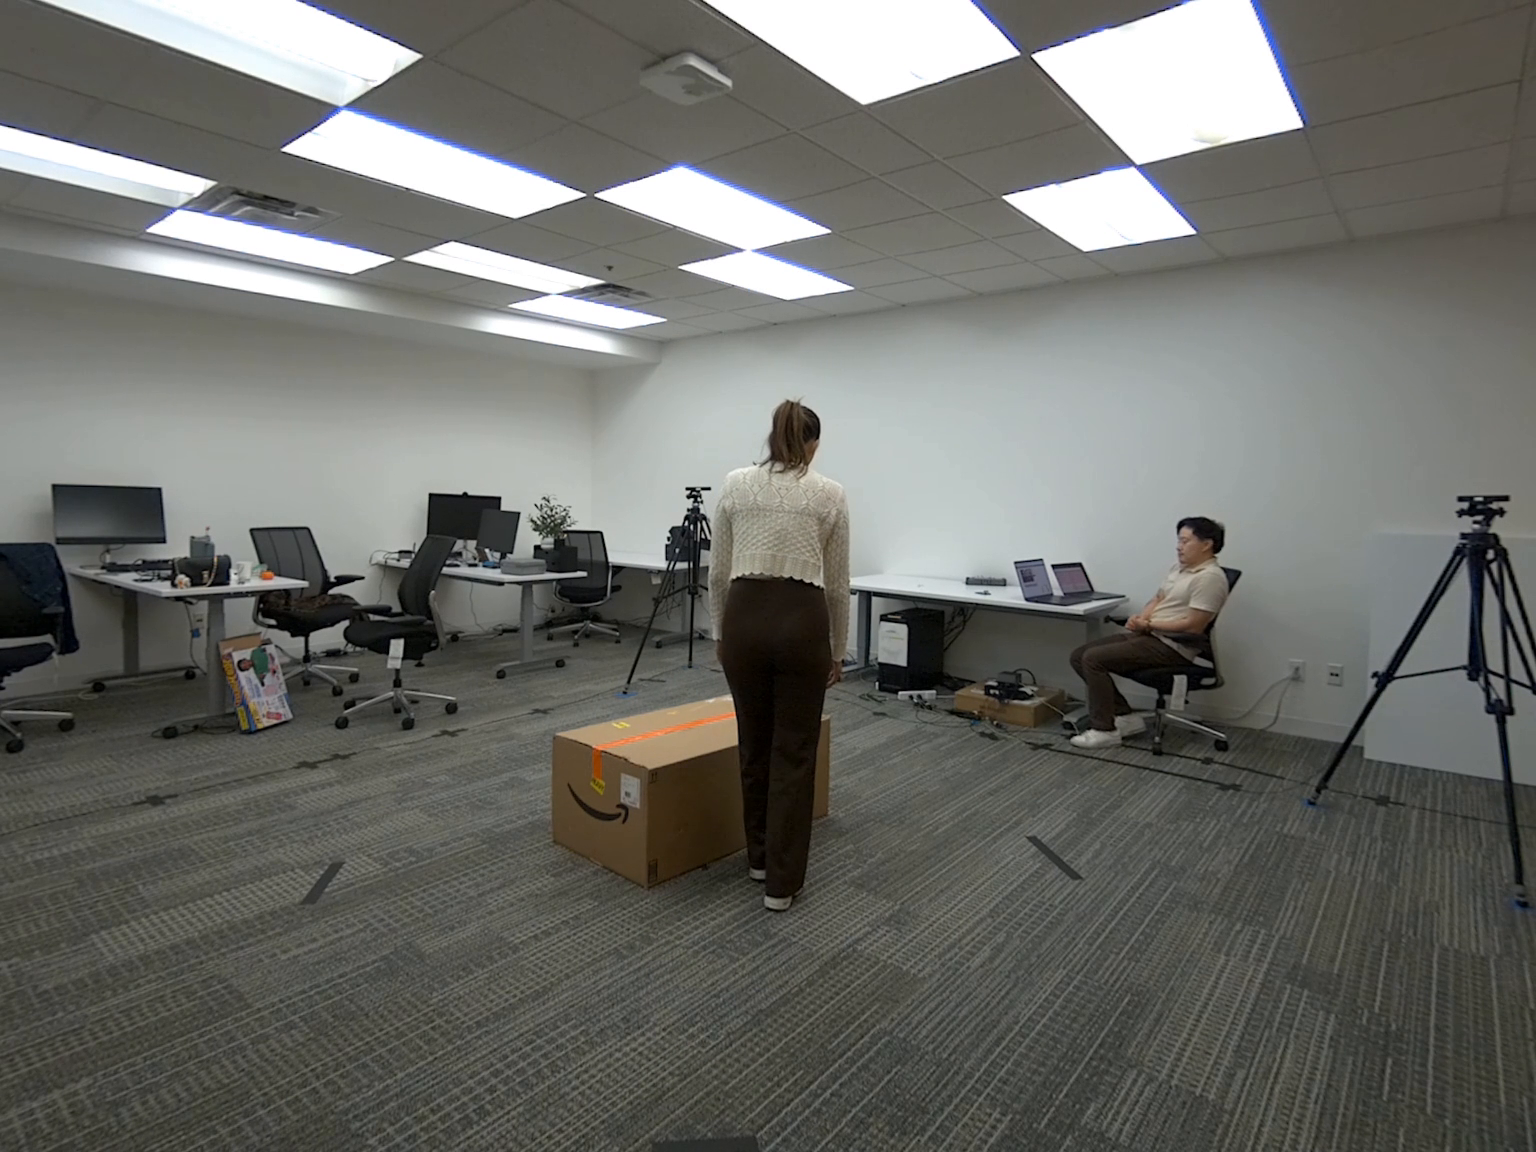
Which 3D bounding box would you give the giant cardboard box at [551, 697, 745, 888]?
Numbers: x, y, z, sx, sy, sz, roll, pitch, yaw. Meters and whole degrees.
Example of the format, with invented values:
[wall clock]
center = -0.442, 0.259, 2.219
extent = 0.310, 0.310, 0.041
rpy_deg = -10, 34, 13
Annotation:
[giant cardboard box]
center = -0.300, 0.813, 3.479
extent = 0.597, 0.425, 0.995
rpy_deg = 4, 6, 43
